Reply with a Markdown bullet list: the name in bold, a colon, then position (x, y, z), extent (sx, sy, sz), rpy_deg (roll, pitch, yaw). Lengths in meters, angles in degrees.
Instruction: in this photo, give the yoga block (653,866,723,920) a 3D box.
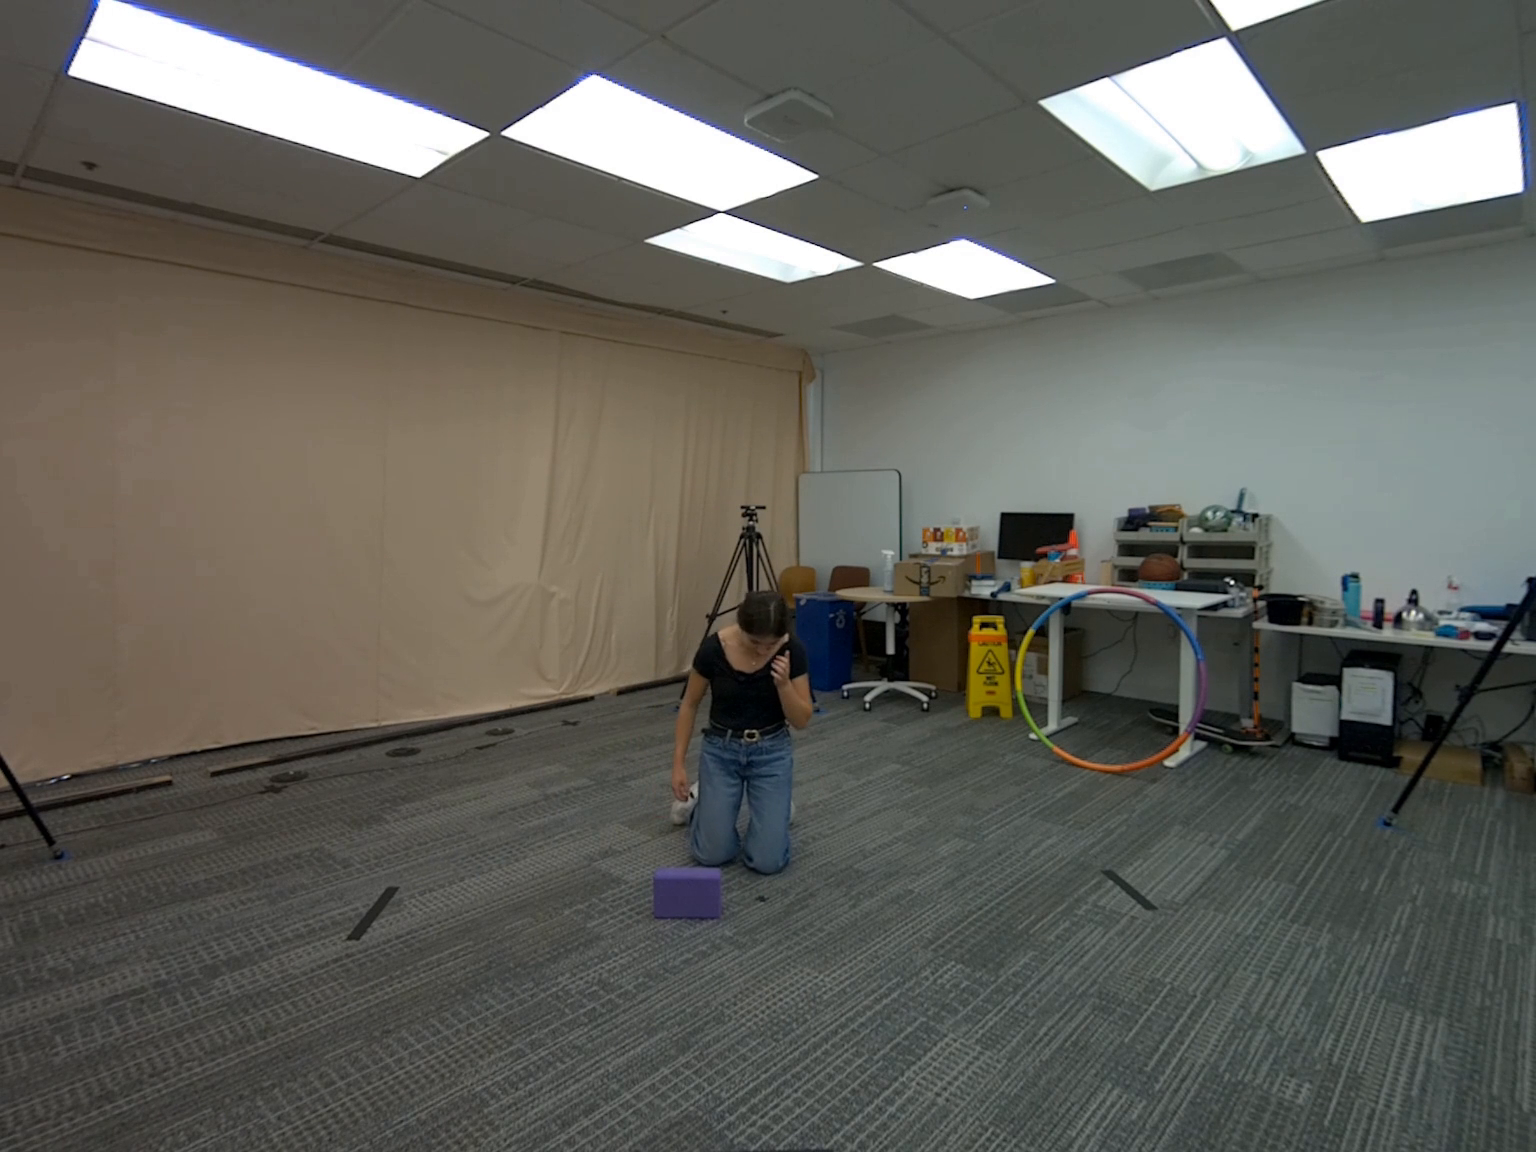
- **yoga block**: position (-0.271, 1.079, 2.870), extent (0.230, 0.148, 0.076), rpy_deg (0, 4, 2)
